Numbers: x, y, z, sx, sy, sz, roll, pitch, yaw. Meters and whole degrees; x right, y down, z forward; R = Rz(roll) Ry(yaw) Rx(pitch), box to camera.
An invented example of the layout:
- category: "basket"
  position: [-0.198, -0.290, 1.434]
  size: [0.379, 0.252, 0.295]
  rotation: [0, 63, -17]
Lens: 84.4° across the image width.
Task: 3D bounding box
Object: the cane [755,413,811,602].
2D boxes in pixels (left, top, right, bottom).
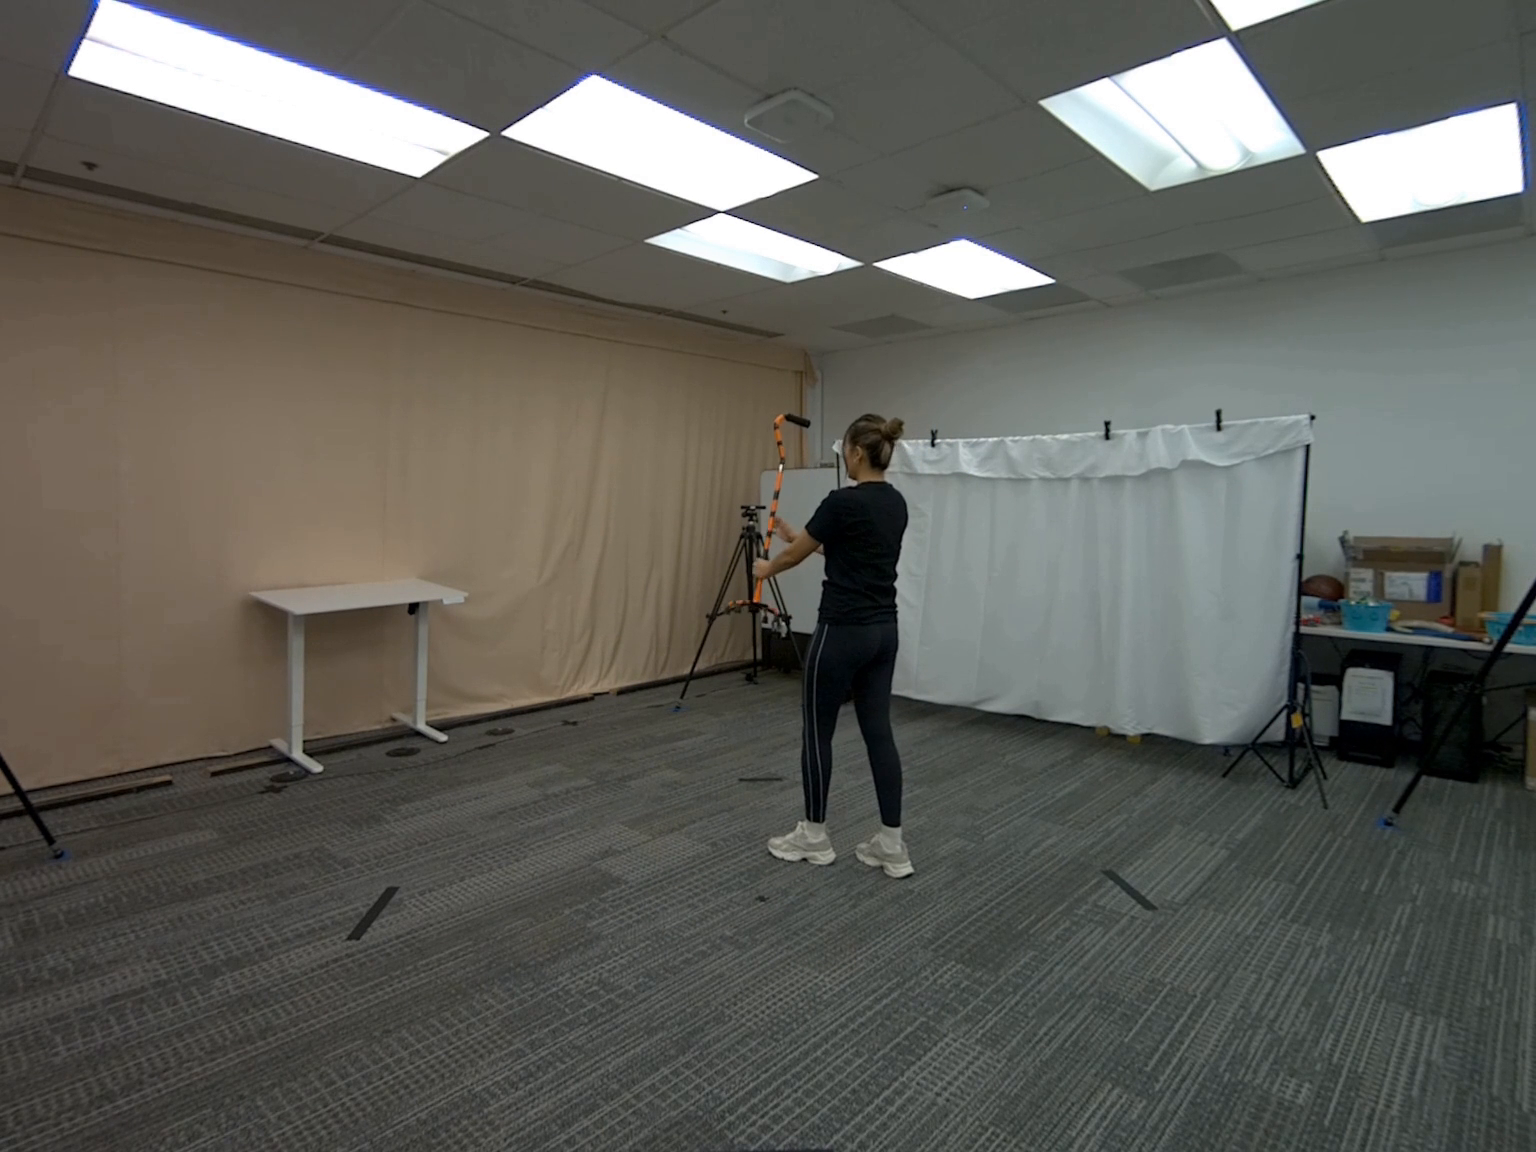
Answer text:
- category: "cane"
  position: [0.007, -0.270, 3.623]
  size: [0.201, 0.911, 0.155]
  rotation: [16, -11, -21]
